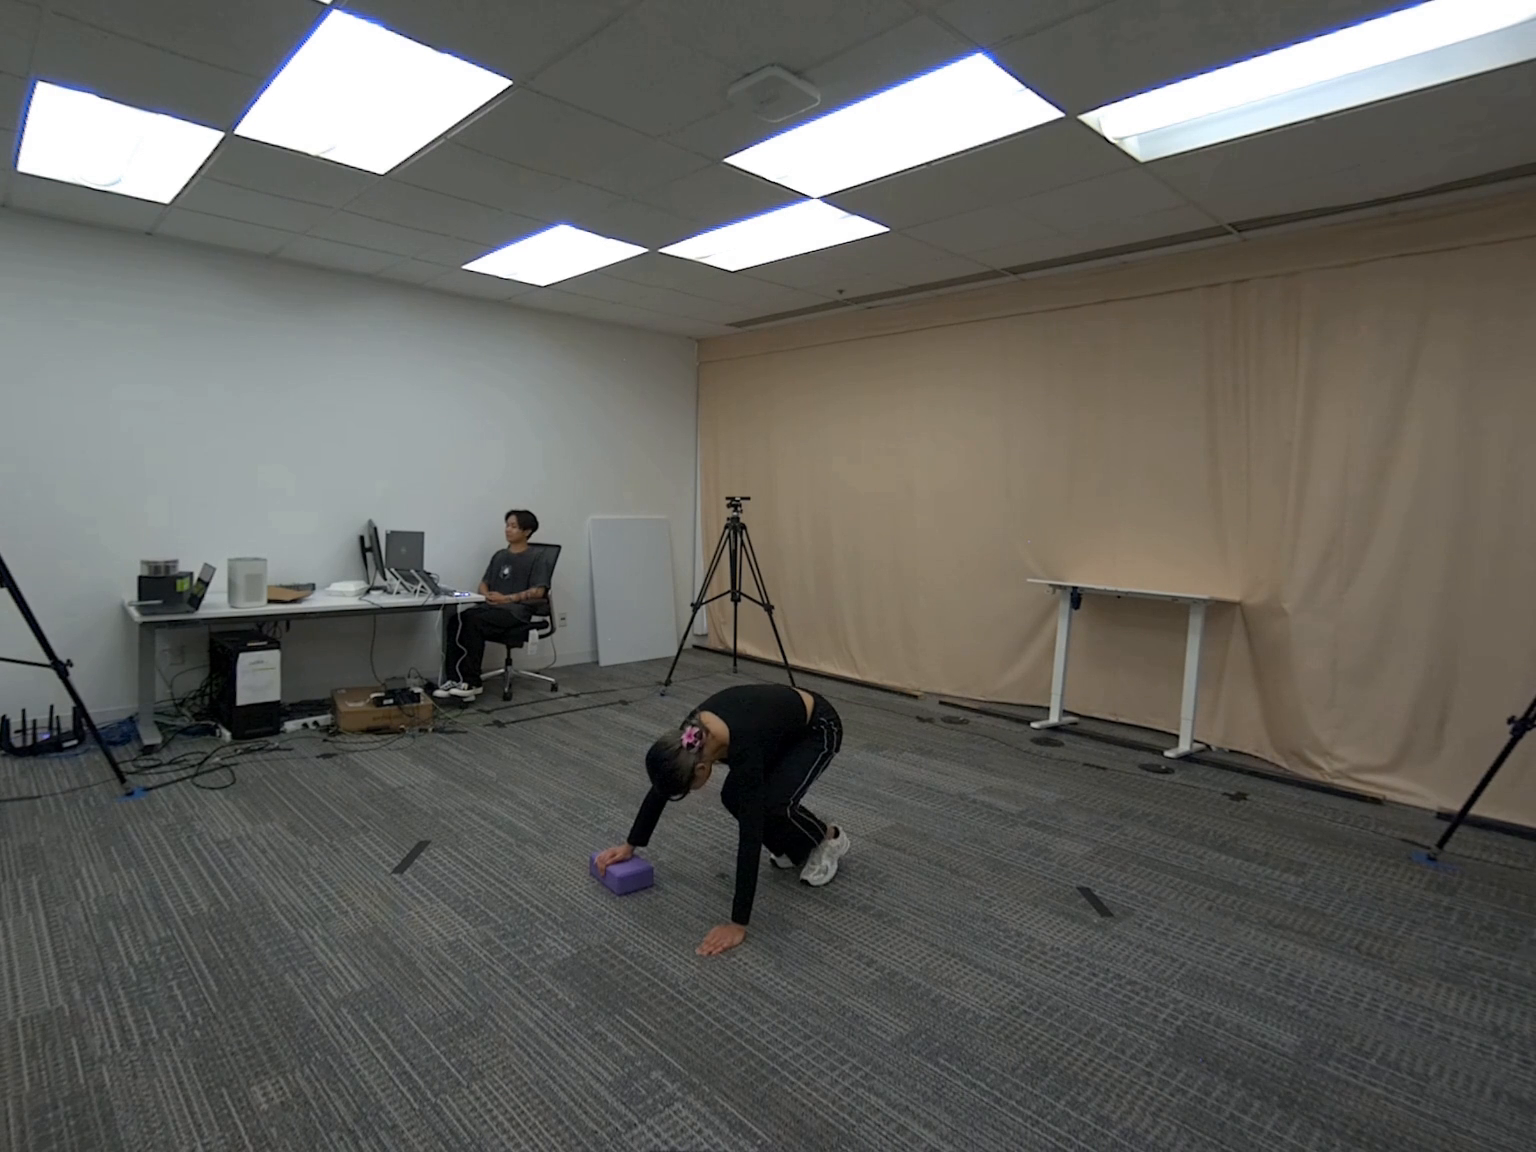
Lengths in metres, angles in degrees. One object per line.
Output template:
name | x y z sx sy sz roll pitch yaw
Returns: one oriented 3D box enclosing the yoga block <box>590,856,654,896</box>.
yoga block | -0.532 1.062 3.054 0.146 0.076 0.235 -3 4 -38
